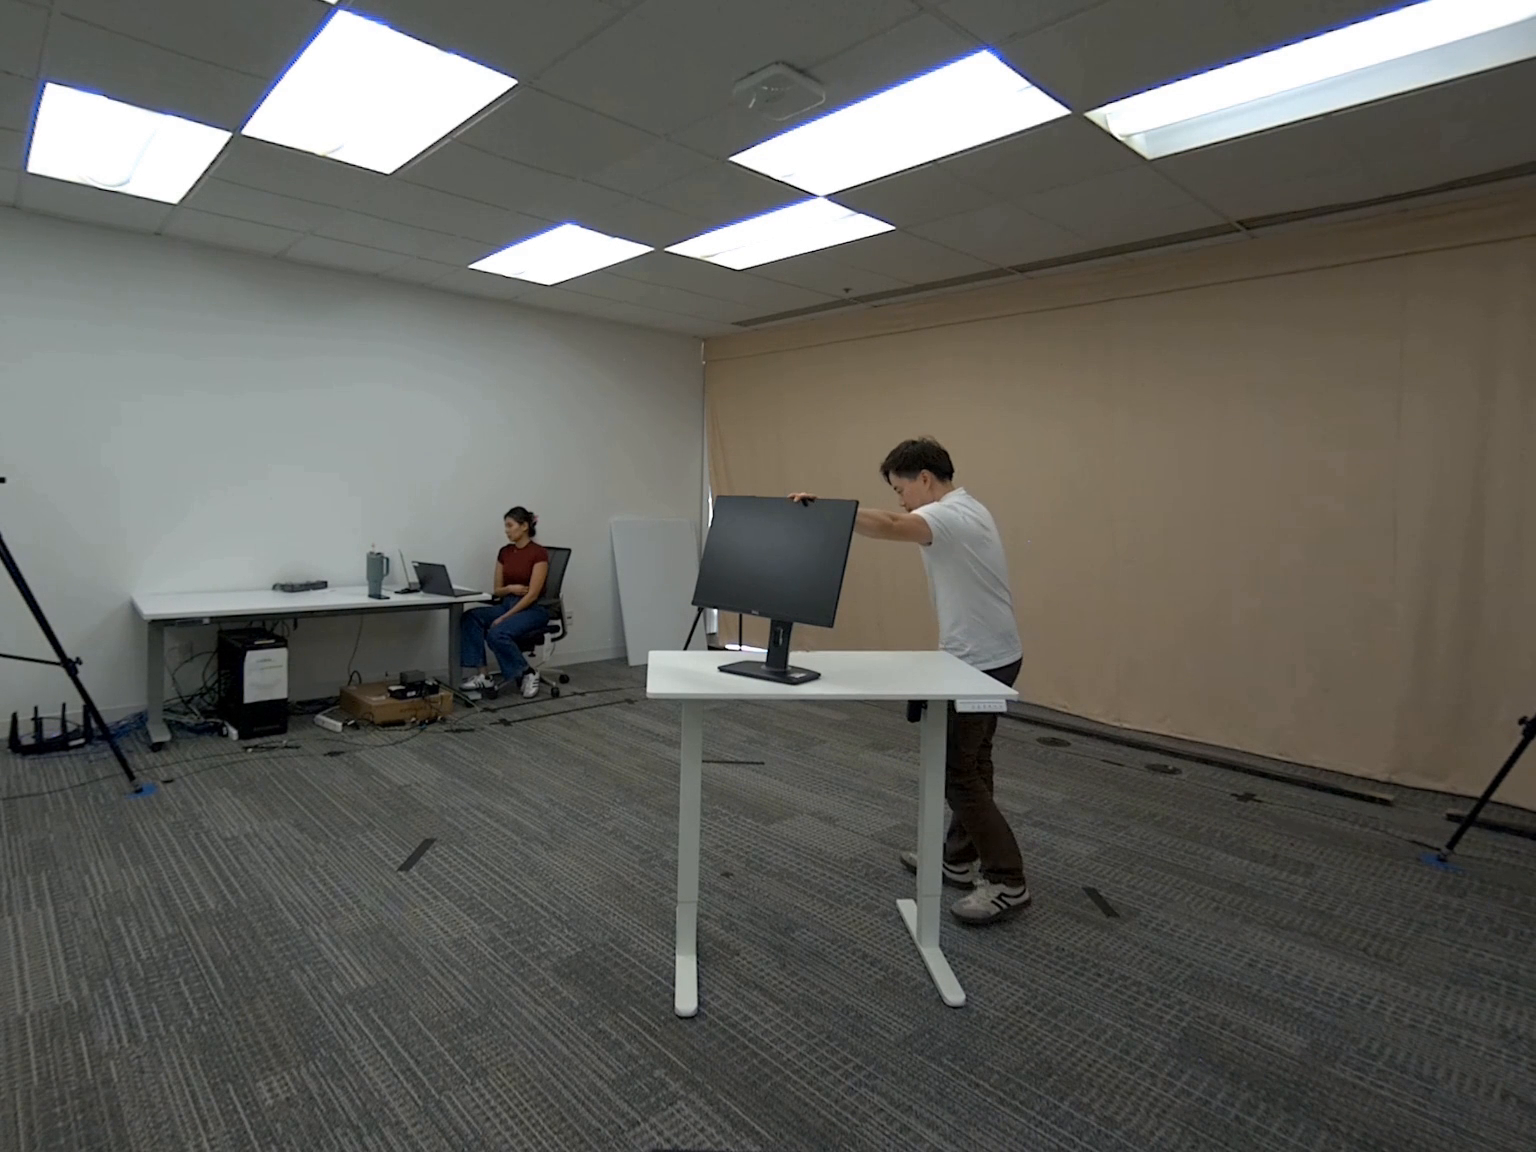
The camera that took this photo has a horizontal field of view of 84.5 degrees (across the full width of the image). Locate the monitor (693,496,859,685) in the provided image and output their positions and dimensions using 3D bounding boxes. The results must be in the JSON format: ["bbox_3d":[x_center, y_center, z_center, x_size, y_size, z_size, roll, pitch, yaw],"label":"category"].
[{"bbox_3d":[0.017,0.036,2.434,0.553,0.522,0.183,6,3,41],"label":"monitor"}]
